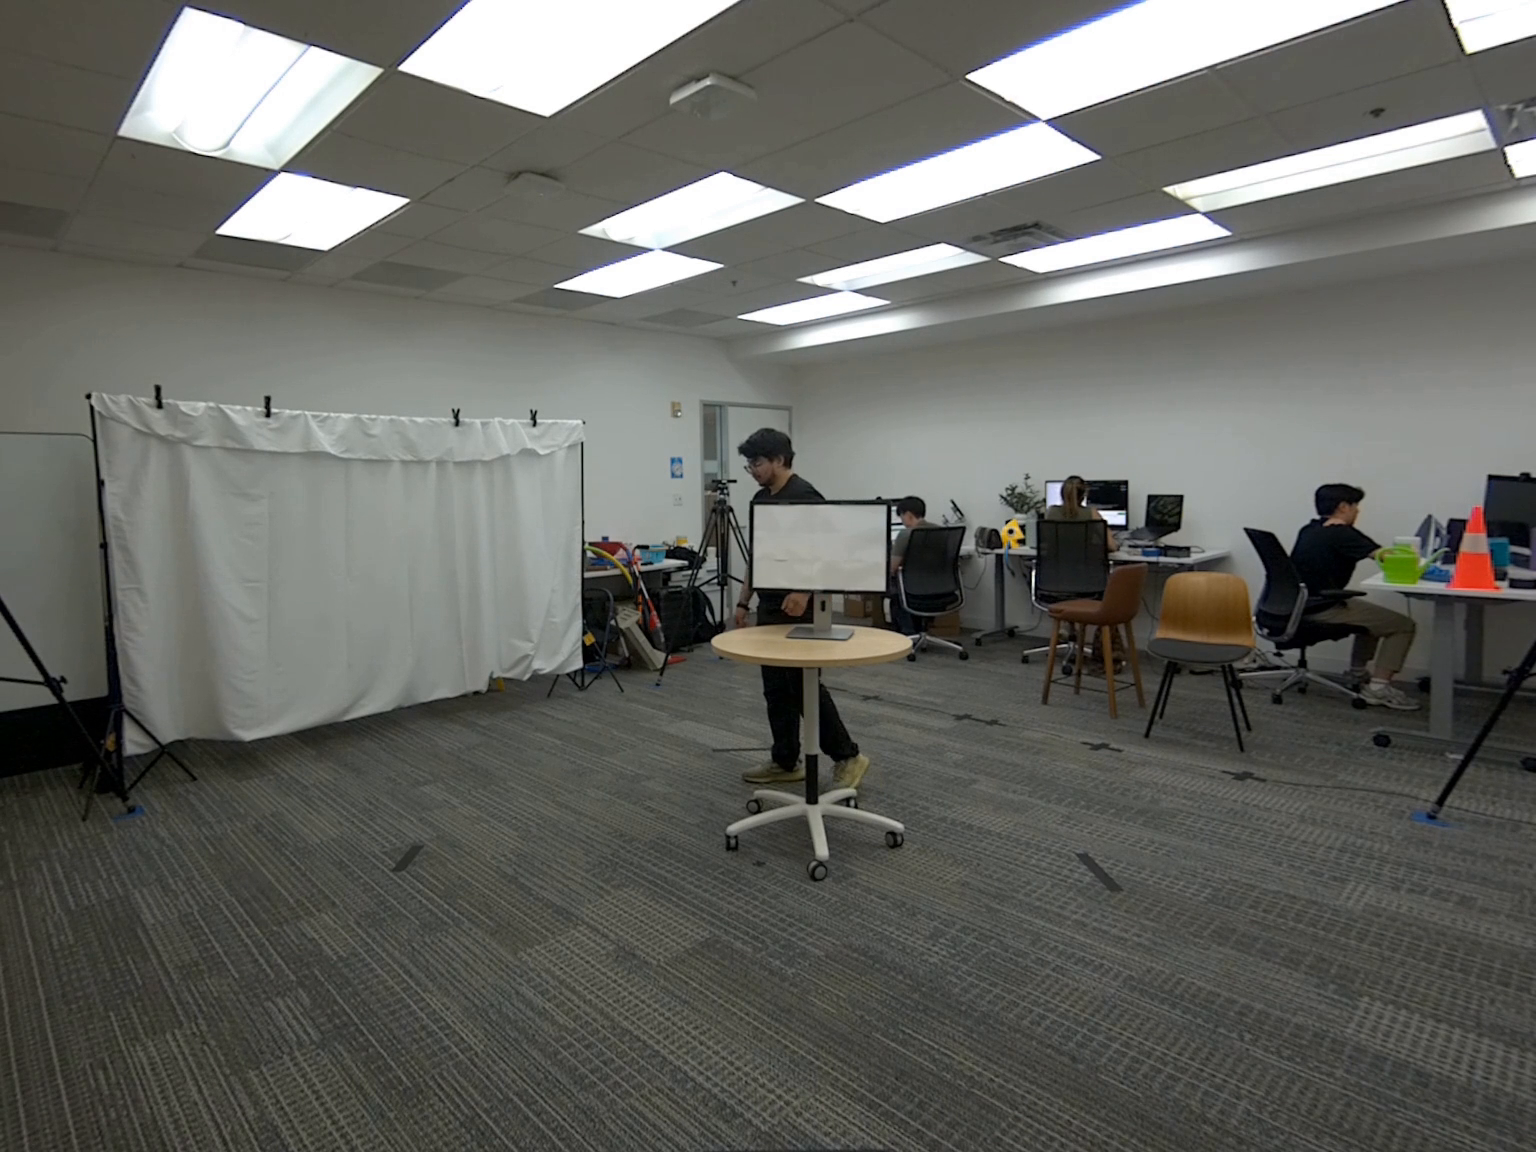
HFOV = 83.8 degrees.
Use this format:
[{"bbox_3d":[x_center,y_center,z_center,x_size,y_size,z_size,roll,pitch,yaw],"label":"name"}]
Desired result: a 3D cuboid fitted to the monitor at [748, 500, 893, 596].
[{"bbox_3d":[0.213,-0.026,3.397,0.575,0.554,0.207,1,0,17],"label":"monitor"}]
